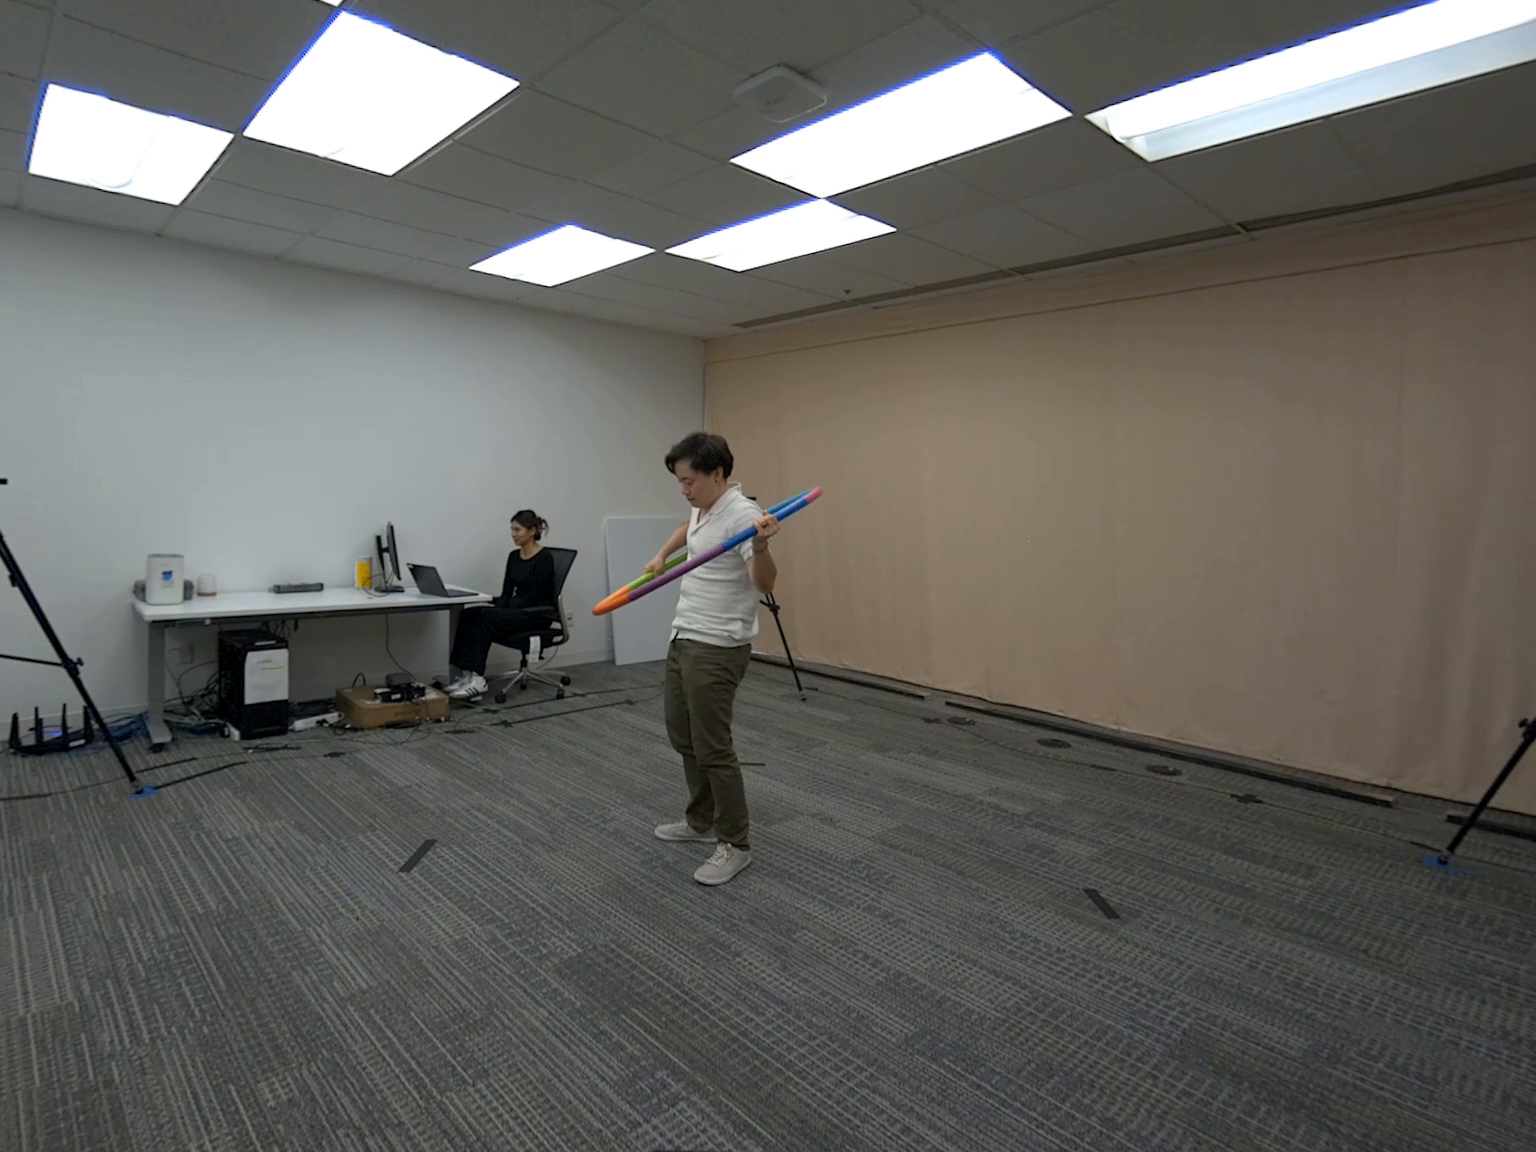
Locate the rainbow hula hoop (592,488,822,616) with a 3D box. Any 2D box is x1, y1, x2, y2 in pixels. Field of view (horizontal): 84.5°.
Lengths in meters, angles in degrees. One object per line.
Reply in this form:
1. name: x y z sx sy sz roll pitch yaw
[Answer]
1. rainbow hula hoop: -0.231 -0.090 3.192 0.979 0.035 0.982 -28 5 0
